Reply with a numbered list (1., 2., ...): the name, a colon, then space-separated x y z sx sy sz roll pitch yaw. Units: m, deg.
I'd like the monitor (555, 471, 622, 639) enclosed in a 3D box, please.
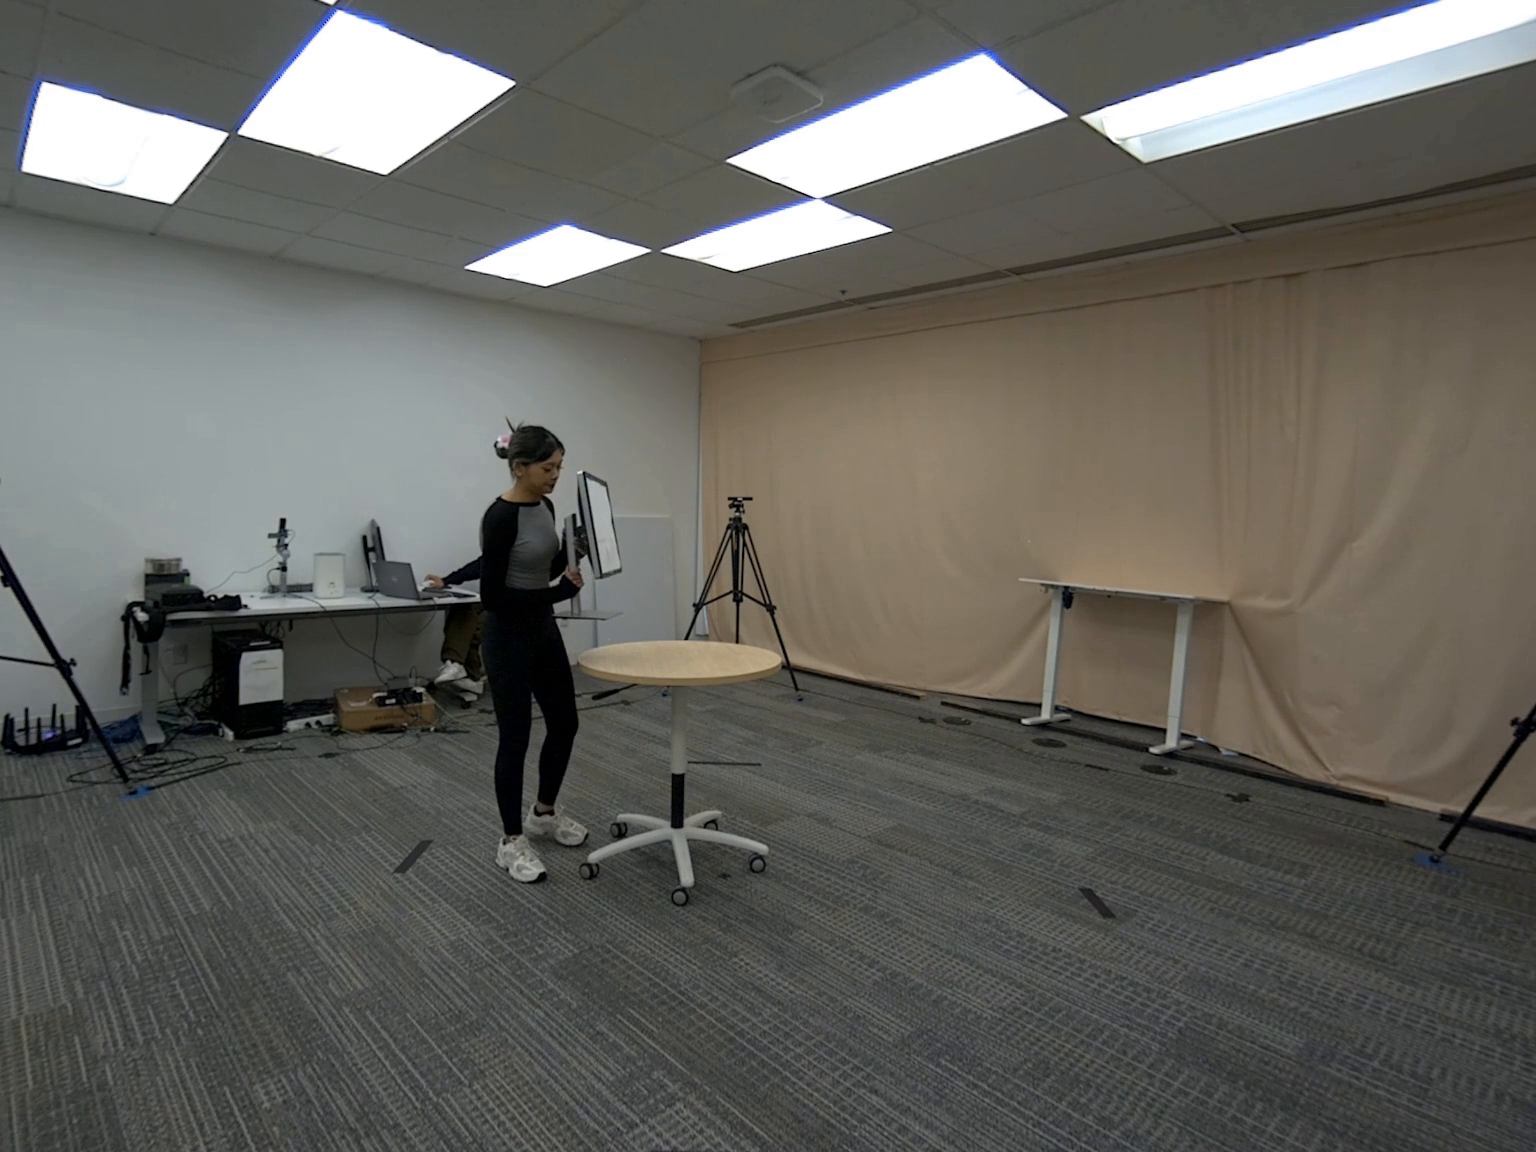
1. monitor: -0.657 -0.098 3.050 0.186 0.522 0.541 3 1 -5
